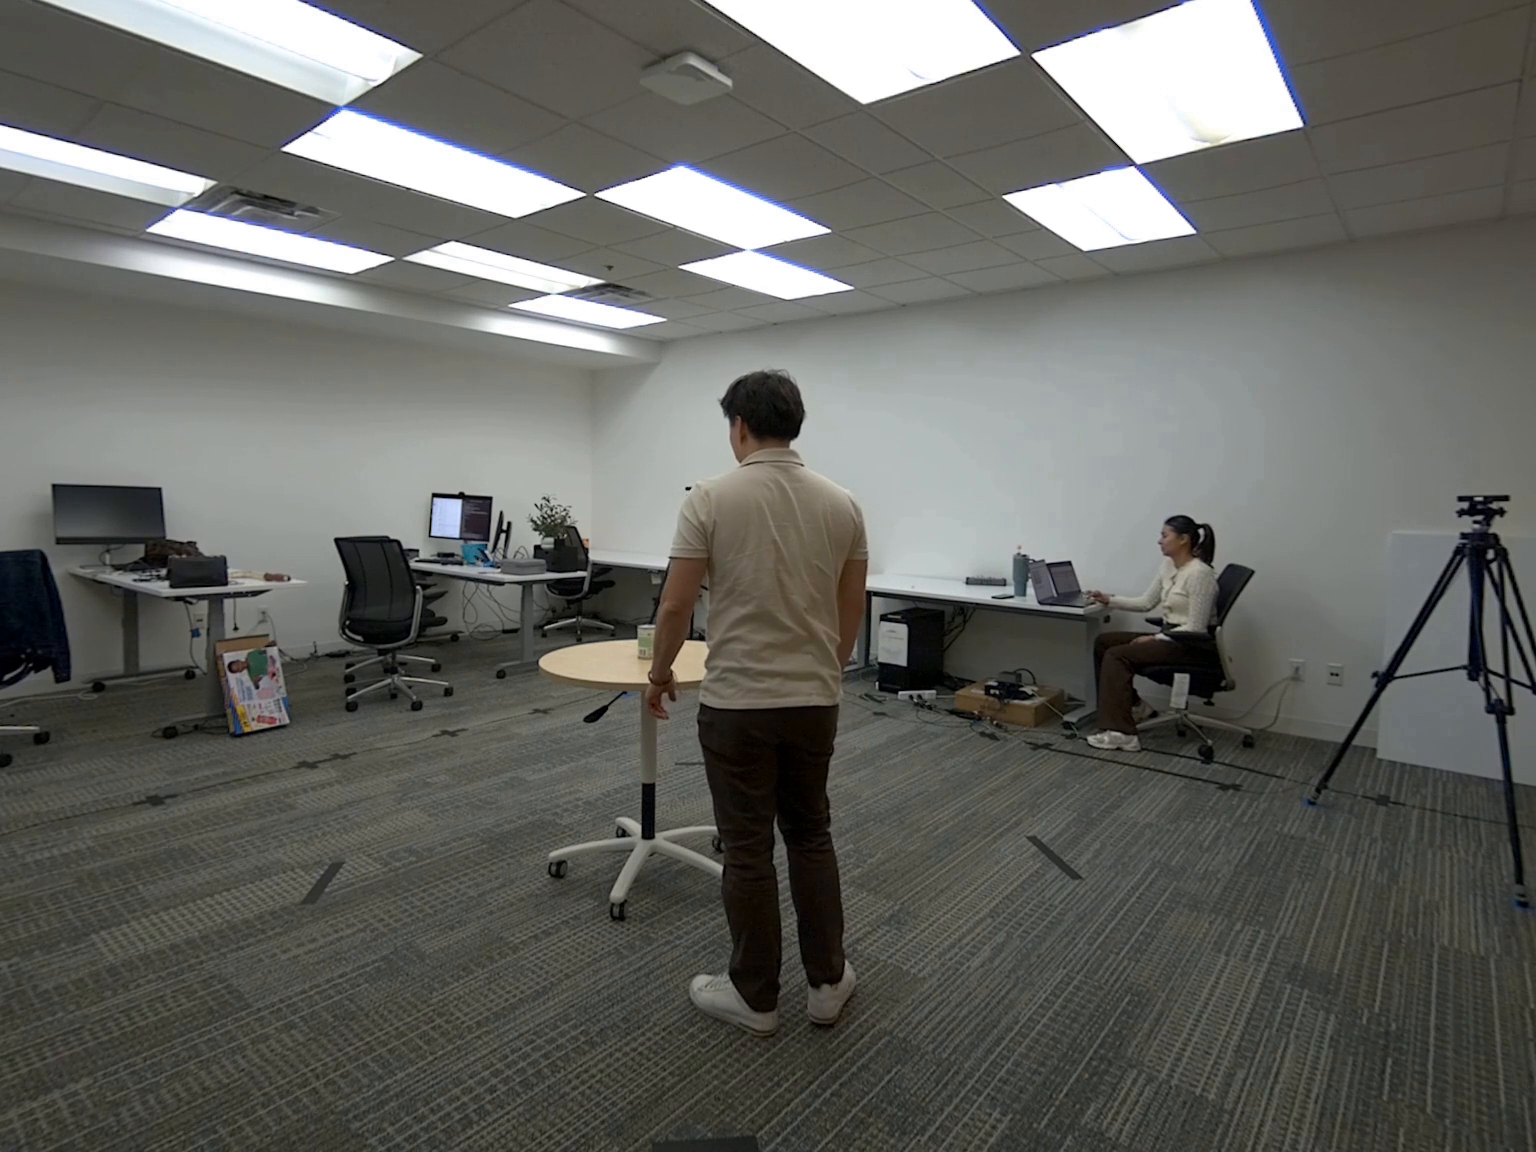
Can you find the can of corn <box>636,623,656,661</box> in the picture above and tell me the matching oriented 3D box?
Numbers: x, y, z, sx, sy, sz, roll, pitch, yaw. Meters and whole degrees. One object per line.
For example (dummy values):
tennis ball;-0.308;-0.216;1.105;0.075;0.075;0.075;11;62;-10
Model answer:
can of corn;-0.437;0.232;3.011;0.074;0.111;0.074;0;3;-2
